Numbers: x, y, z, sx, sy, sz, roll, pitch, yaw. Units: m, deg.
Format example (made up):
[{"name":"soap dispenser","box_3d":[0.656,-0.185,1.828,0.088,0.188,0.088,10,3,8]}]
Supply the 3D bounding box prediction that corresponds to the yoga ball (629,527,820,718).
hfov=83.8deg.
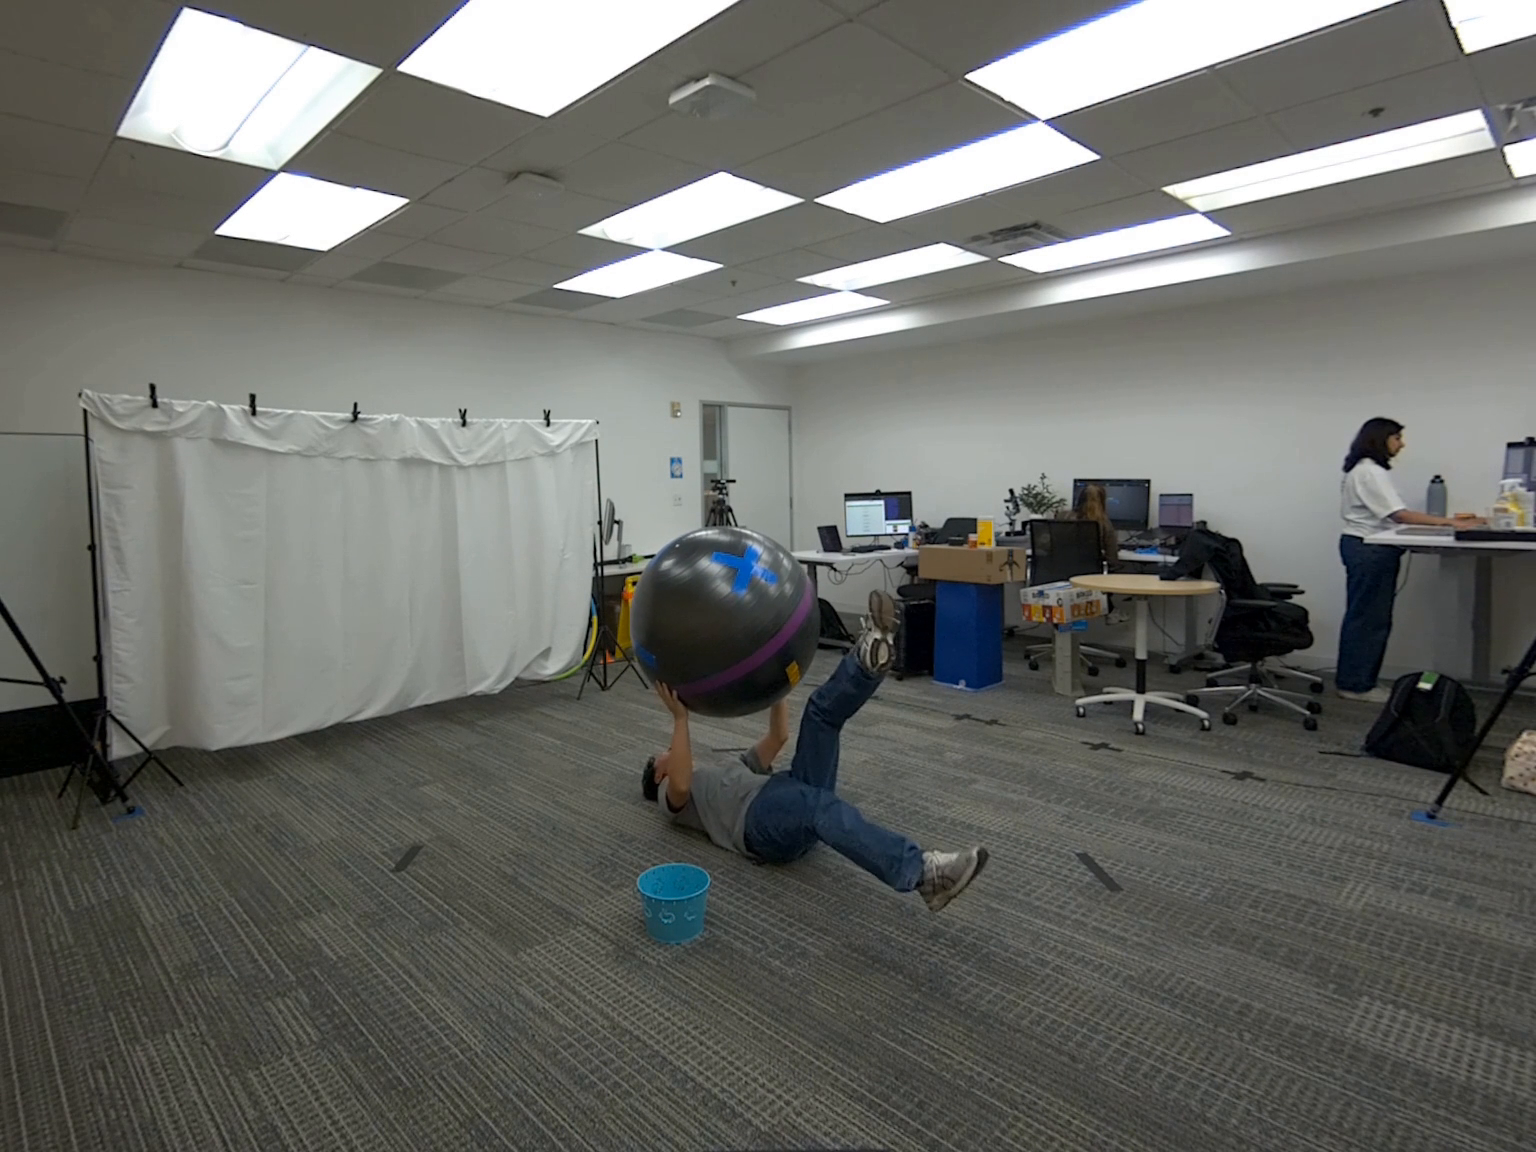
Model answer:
[{"name":"yoga ball","box_3d":[-0.179,0.184,3.403,0.757,0.755,0.762,-1,5,-2]}]
